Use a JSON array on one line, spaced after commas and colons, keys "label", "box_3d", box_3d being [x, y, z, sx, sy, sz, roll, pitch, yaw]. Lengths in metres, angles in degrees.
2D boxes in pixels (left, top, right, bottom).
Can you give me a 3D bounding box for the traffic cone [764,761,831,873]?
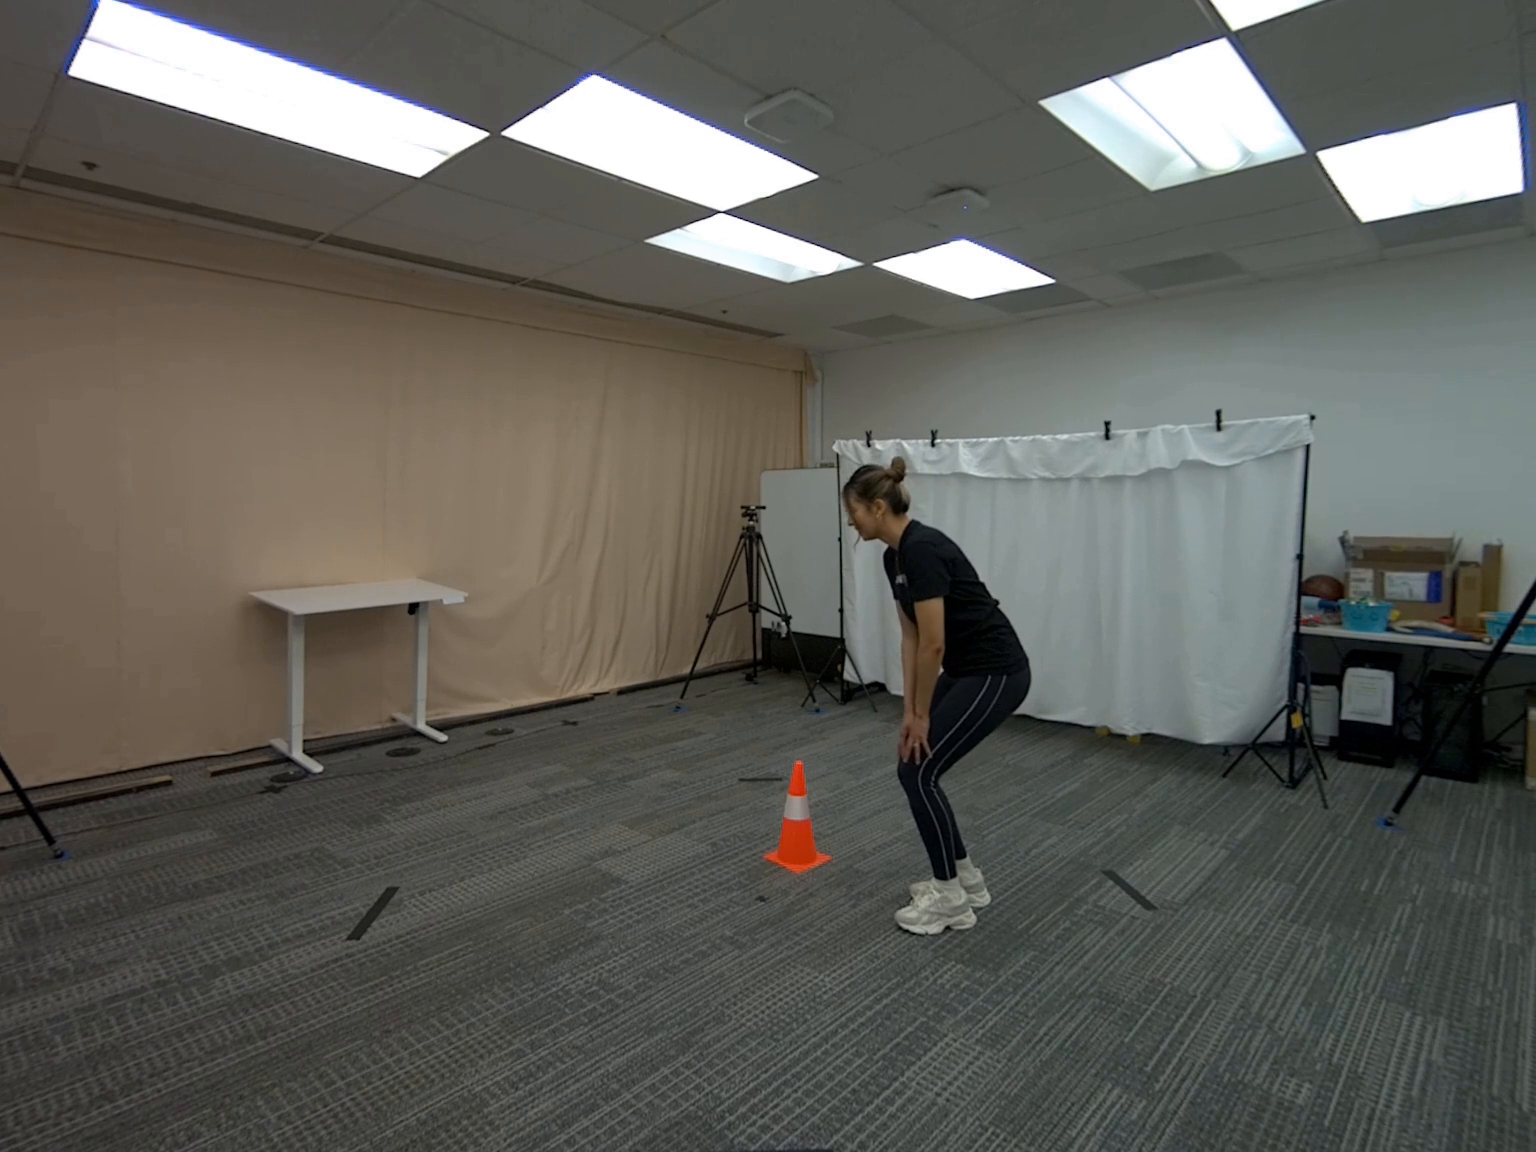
[{"label": "traffic cone", "box_3d": [0.113, 0.932, 3.319, 0.210, 0.383, 0.199, 2, 4, 40]}]
